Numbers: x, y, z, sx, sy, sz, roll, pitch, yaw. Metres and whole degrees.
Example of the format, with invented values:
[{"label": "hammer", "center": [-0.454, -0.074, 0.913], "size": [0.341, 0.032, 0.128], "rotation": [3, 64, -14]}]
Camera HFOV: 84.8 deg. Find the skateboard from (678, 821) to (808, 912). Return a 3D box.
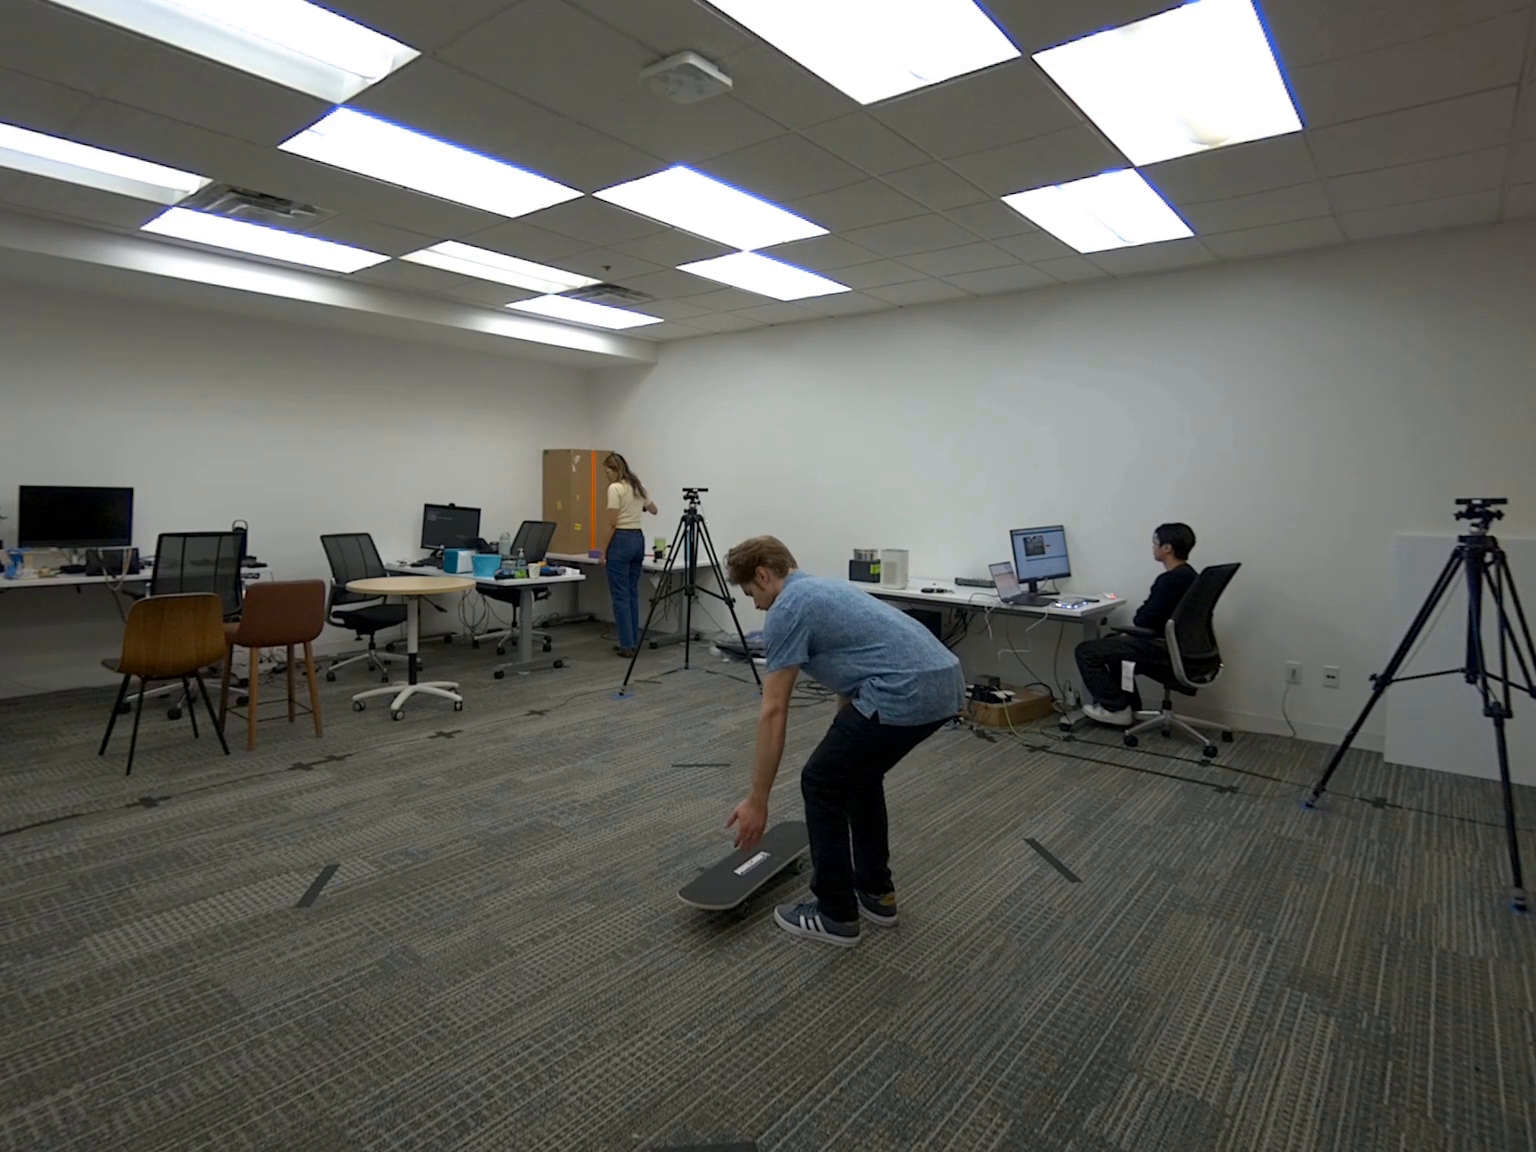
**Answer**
[{"label": "skateboard", "center": [-0.059, 1.030, 2.970], "size": [0.199, 0.110, 0.765], "rotation": [5, 7, 29]}]
